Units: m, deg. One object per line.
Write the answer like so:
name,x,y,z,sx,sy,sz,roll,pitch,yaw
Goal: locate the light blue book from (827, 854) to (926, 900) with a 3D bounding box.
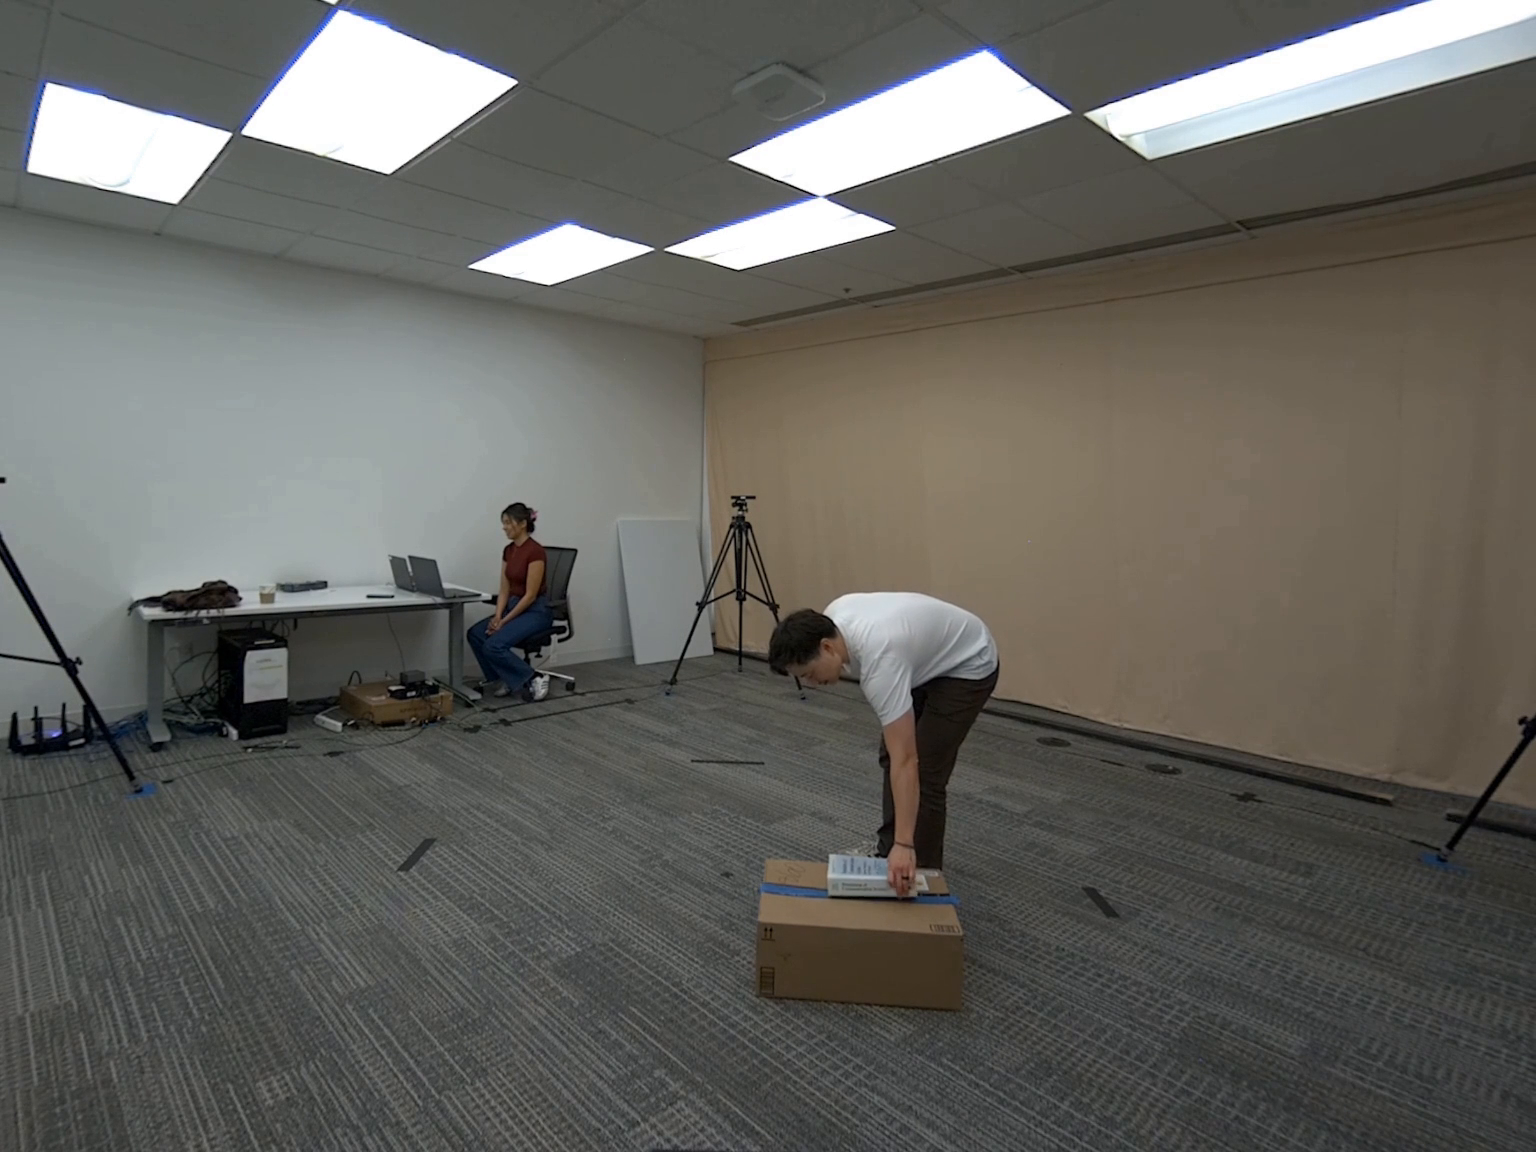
light blue book,0.312,0.919,2.566,0.262,0.059,0.190,1,2,6
